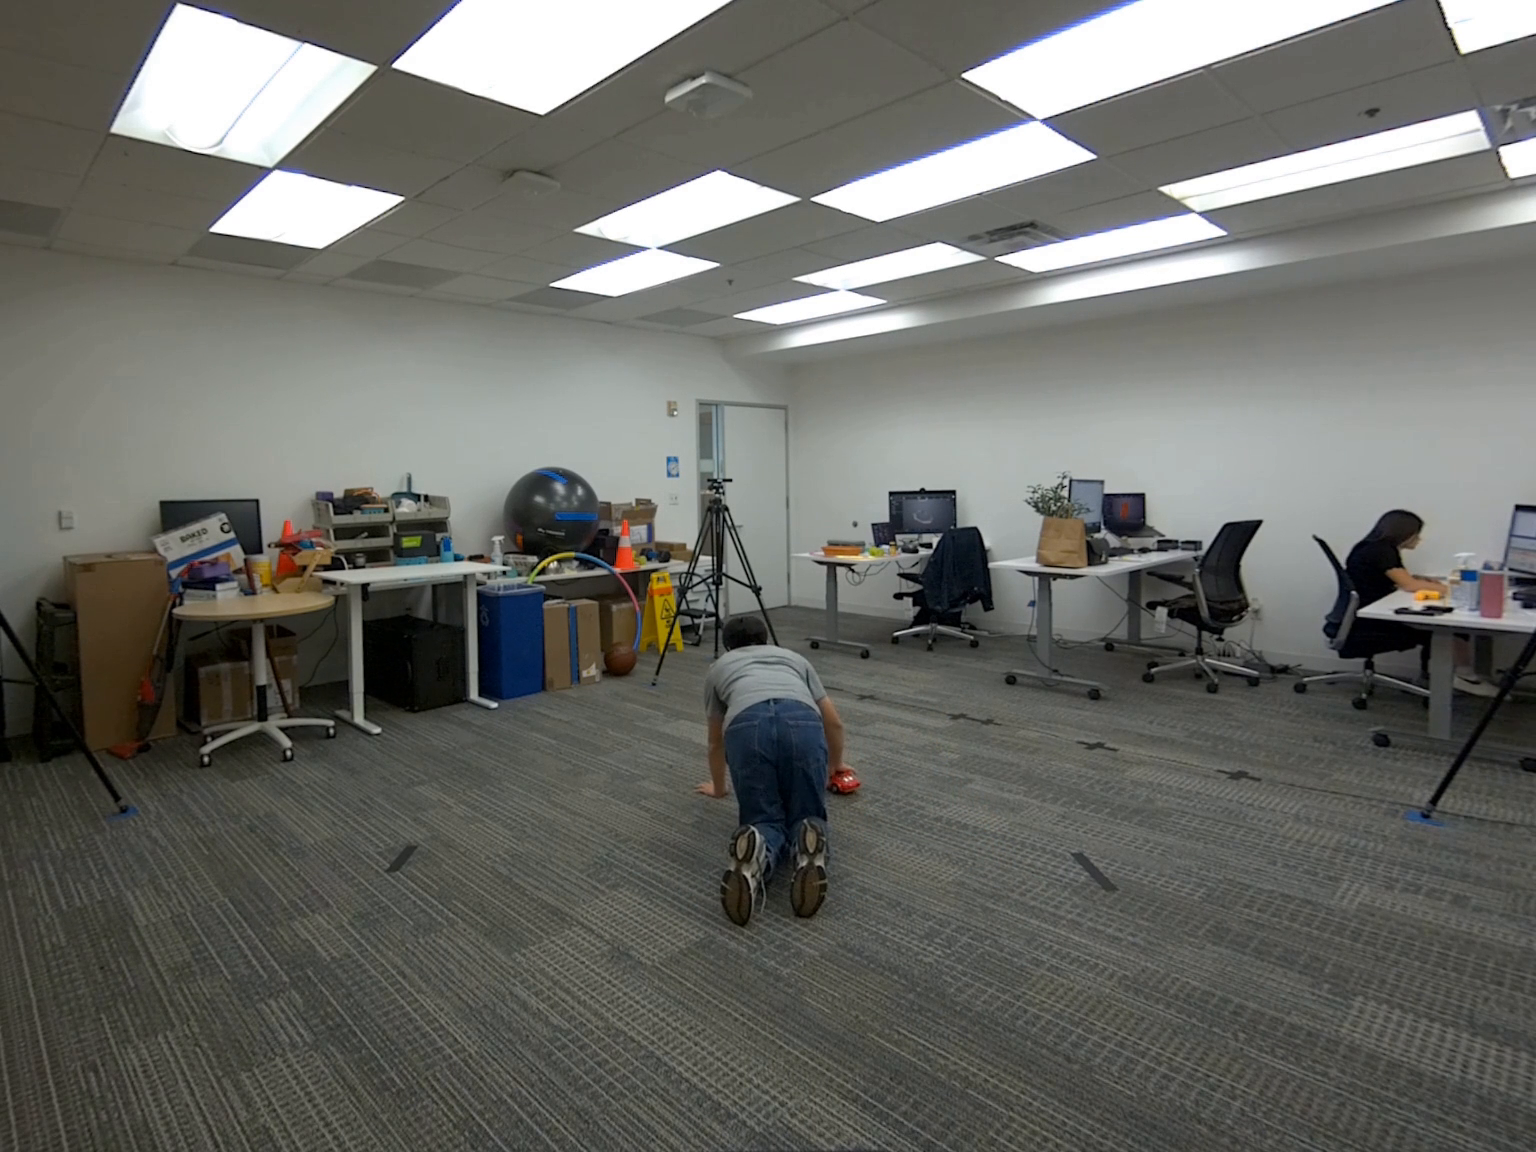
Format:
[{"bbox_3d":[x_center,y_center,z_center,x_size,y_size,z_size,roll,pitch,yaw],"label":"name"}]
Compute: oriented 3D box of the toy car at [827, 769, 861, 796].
[{"bbox_3d":[0.305,0.925,3.863,0.127,0.083,0.260,-4,-3,-36],"label":"toy car"}]
